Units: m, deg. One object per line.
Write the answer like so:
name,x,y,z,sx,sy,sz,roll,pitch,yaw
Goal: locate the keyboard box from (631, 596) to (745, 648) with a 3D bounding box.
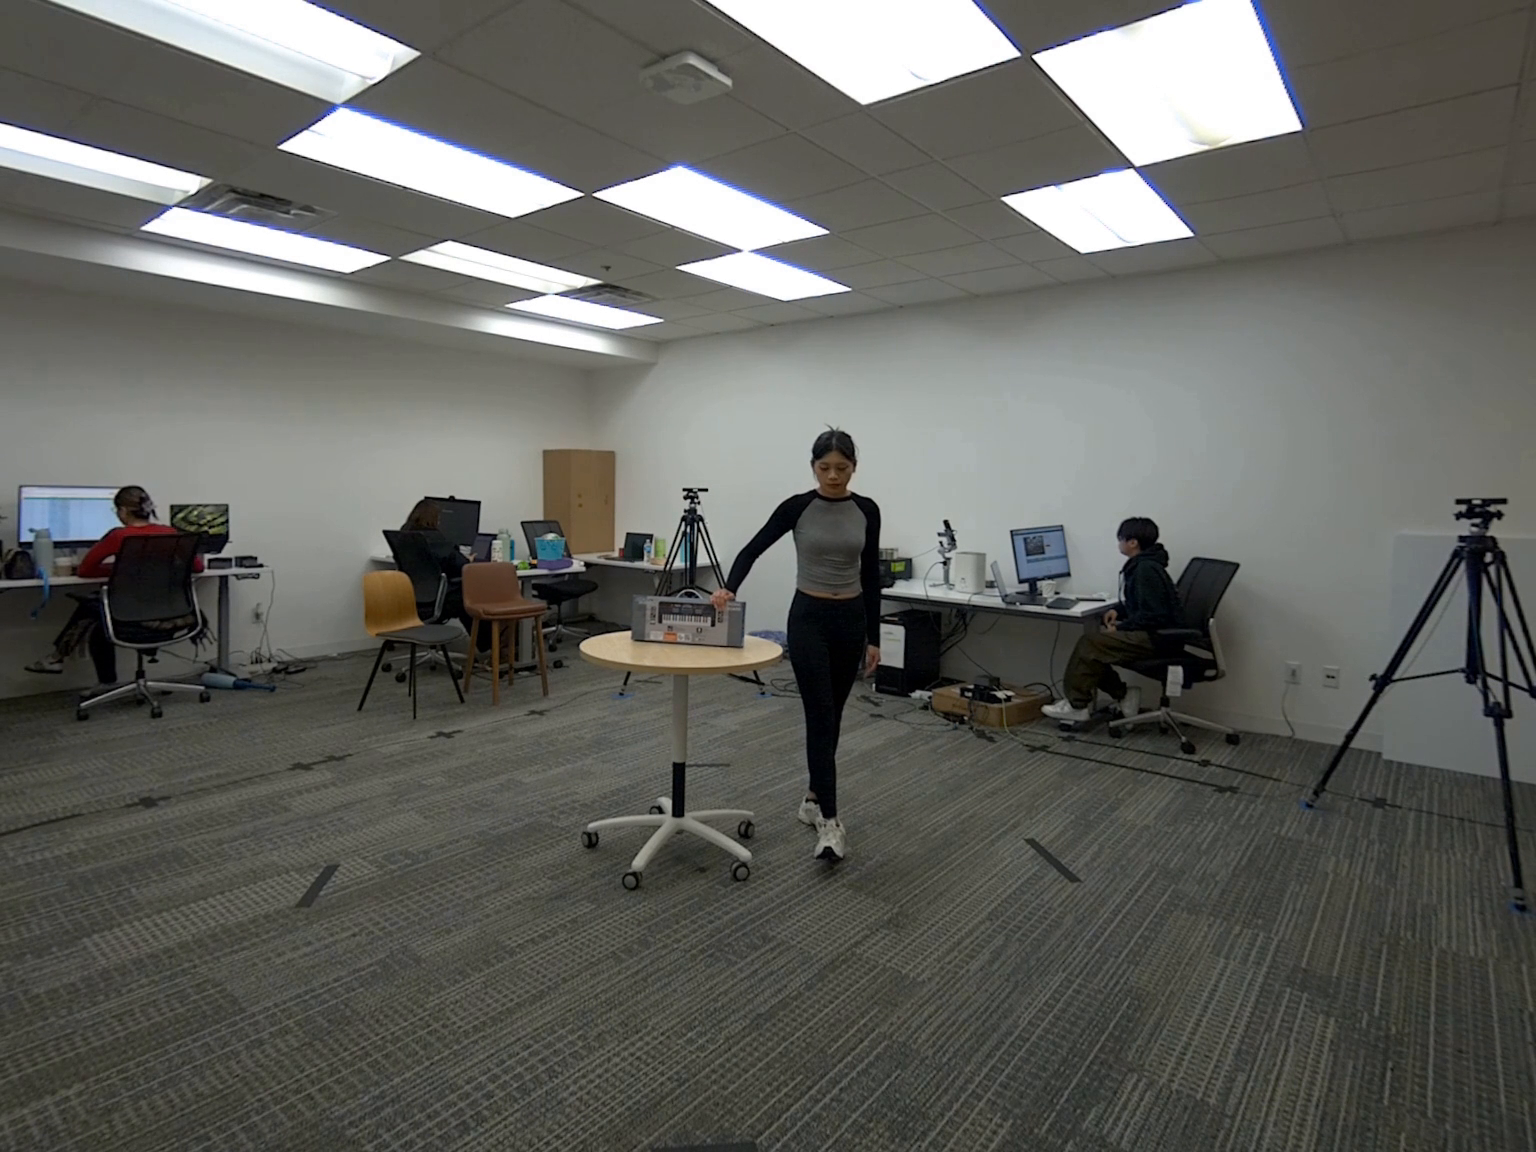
keyboard box,-0.318,0.169,3.275,0.442,0.176,0.058,3,0,12
